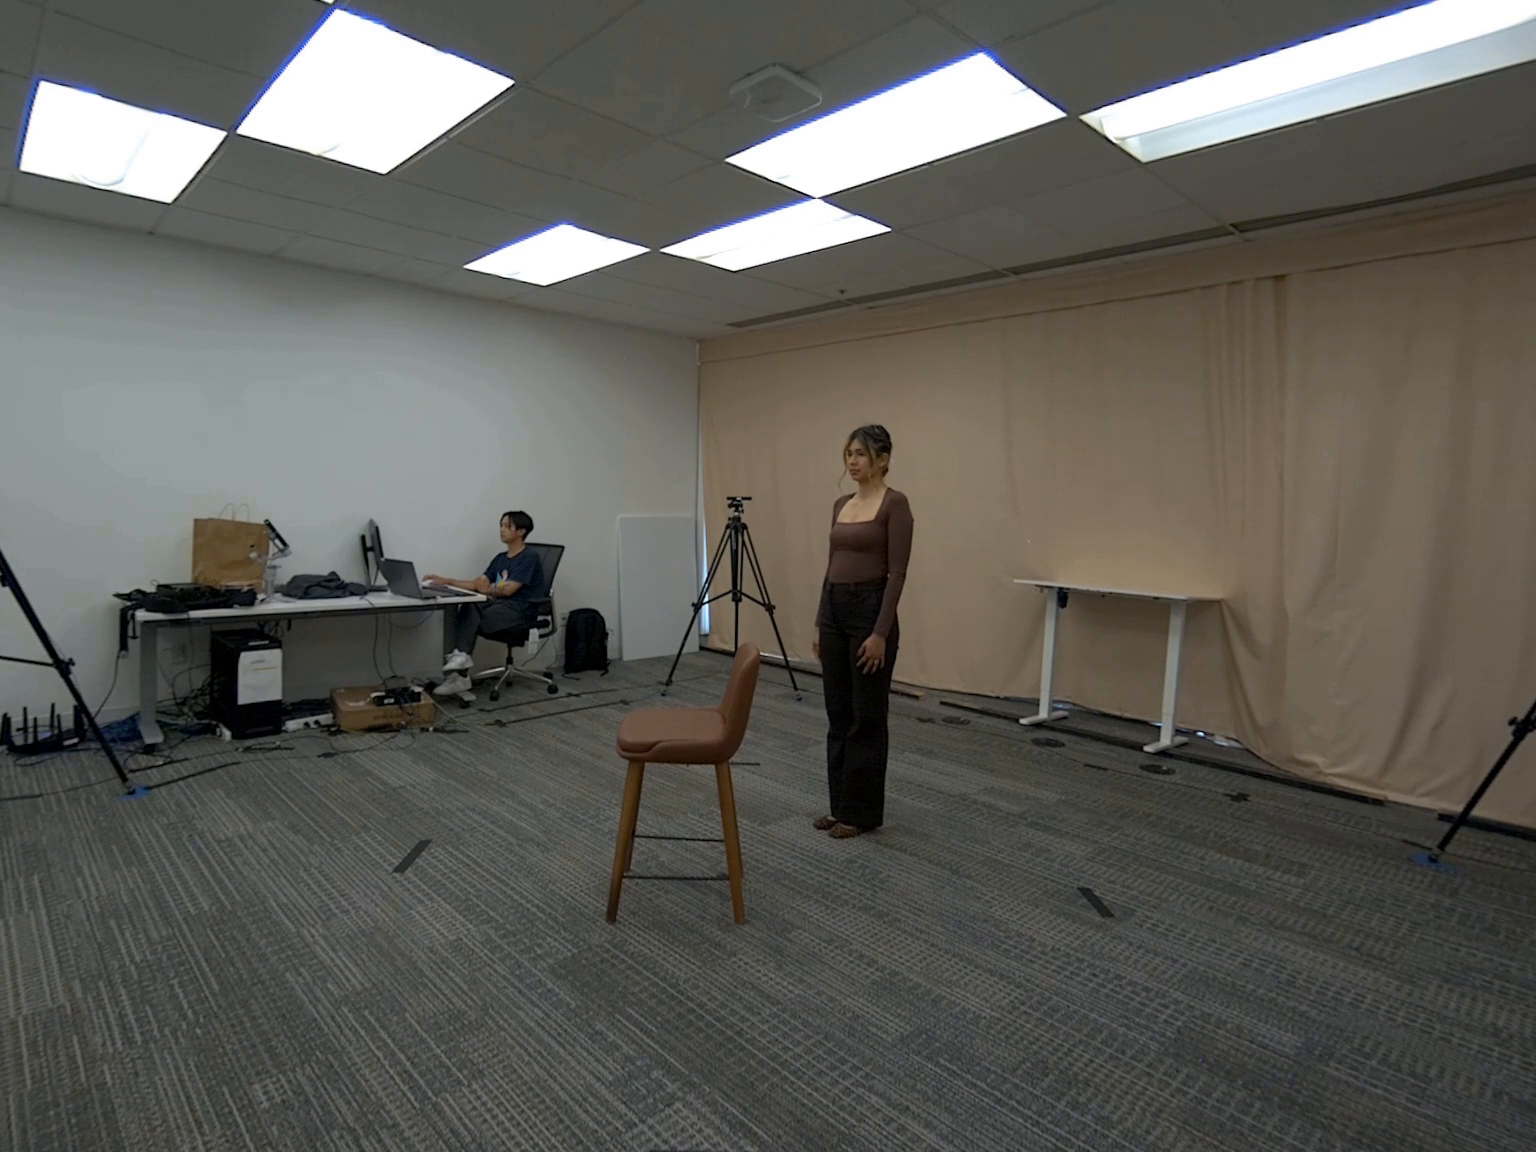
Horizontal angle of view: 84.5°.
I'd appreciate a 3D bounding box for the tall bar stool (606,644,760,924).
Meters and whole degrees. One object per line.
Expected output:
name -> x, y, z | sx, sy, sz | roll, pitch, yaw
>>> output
tall bar stool -> -0.298, 0.688, 2.908 | 0.467, 0.887, 0.458 | 3, 4, -2
